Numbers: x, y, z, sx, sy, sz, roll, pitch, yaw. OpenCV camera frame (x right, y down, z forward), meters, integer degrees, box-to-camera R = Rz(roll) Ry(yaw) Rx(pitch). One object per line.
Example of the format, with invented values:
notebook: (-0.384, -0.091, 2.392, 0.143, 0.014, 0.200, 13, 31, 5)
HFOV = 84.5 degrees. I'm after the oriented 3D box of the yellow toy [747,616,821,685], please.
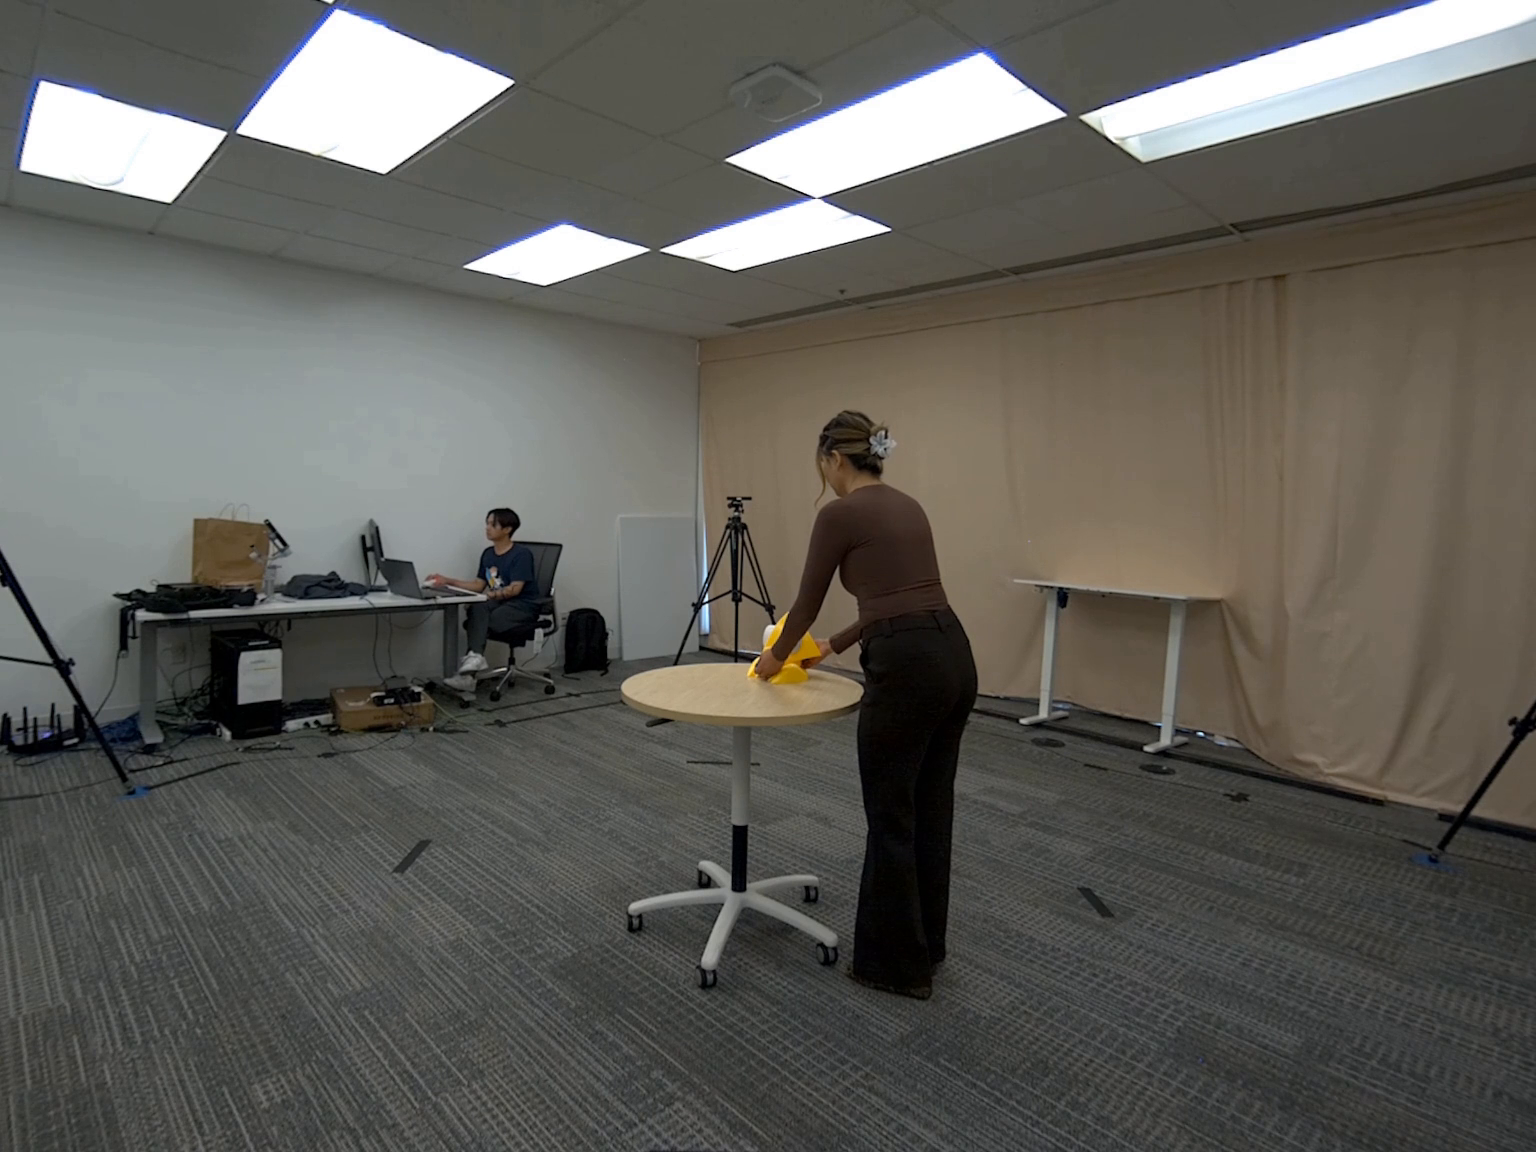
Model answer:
yellow toy: (0.043, 0.224, 2.820, 0.189, 0.230, 0.210, -2, 4, -37)
